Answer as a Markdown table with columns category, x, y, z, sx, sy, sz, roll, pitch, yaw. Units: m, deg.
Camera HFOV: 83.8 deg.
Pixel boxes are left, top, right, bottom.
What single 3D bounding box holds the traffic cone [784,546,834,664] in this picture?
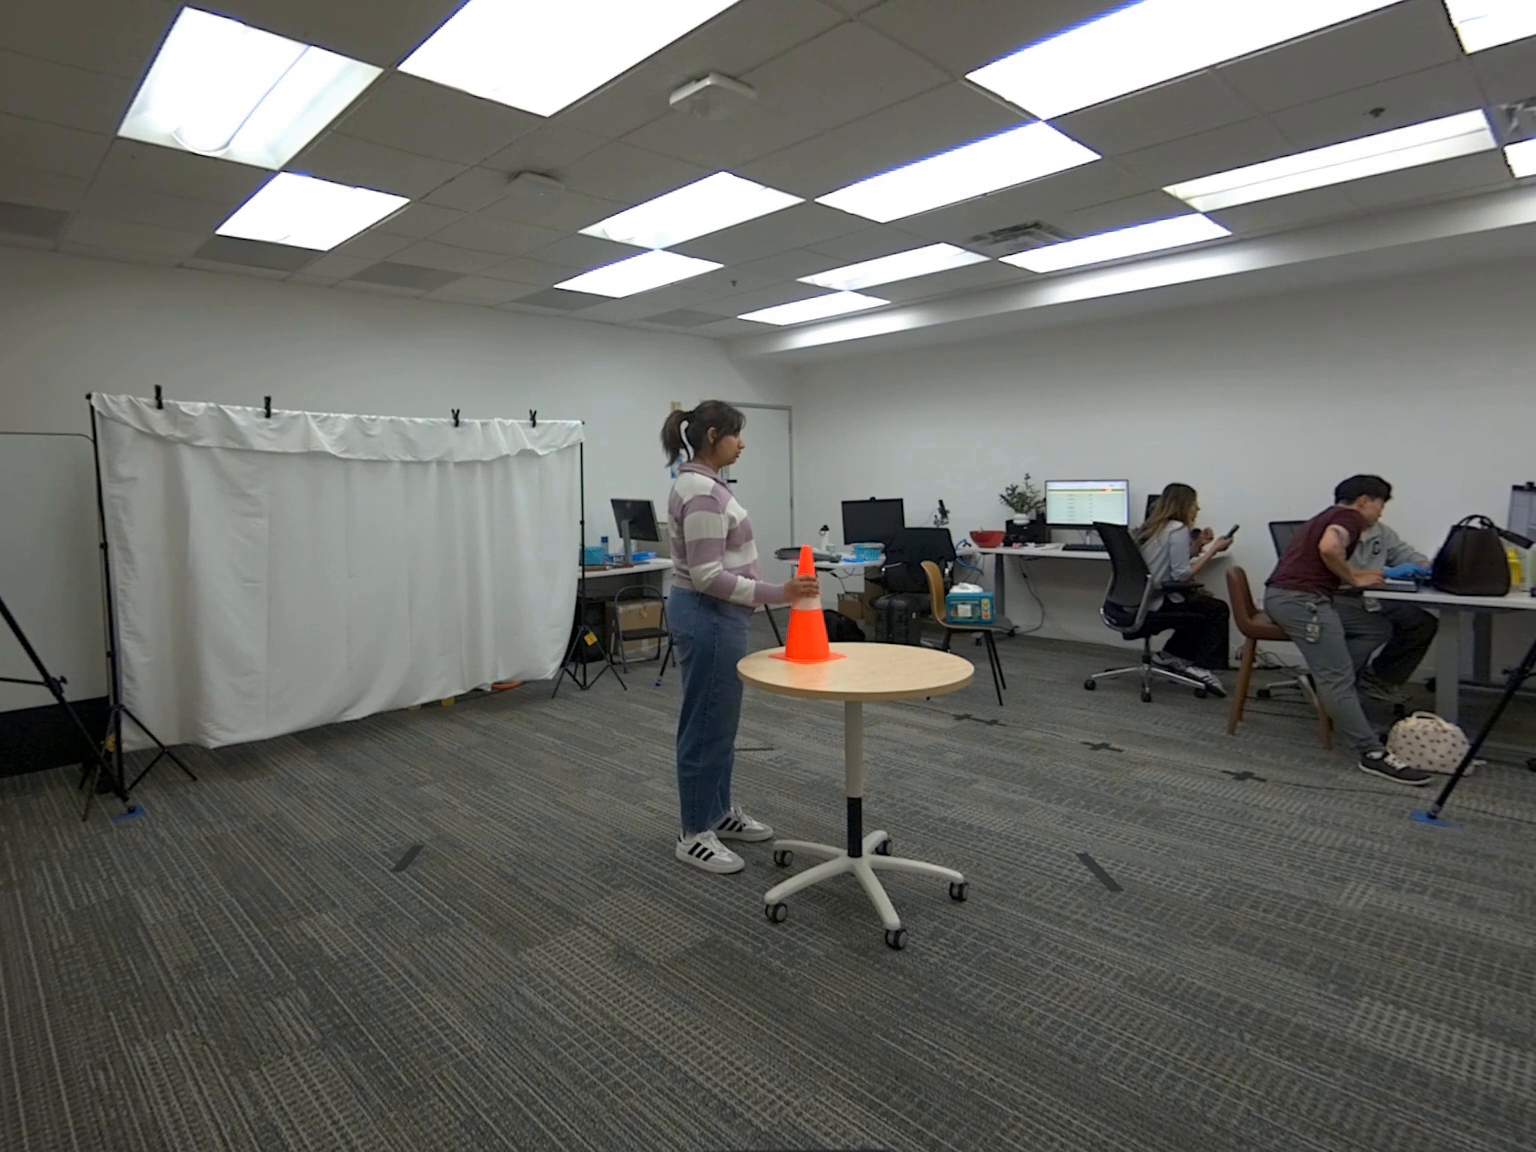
| category | x | y | z | sx | sy | sz | roll | pitch | yaw |
| --- | --- | --- | --- | --- | --- | --- | --- | --- | --- |
| traffic cone | 0.134 | 0.086 | 2.938 | 0.211 | 0.382 | 0.198 | 4 | 5 | 41 |
